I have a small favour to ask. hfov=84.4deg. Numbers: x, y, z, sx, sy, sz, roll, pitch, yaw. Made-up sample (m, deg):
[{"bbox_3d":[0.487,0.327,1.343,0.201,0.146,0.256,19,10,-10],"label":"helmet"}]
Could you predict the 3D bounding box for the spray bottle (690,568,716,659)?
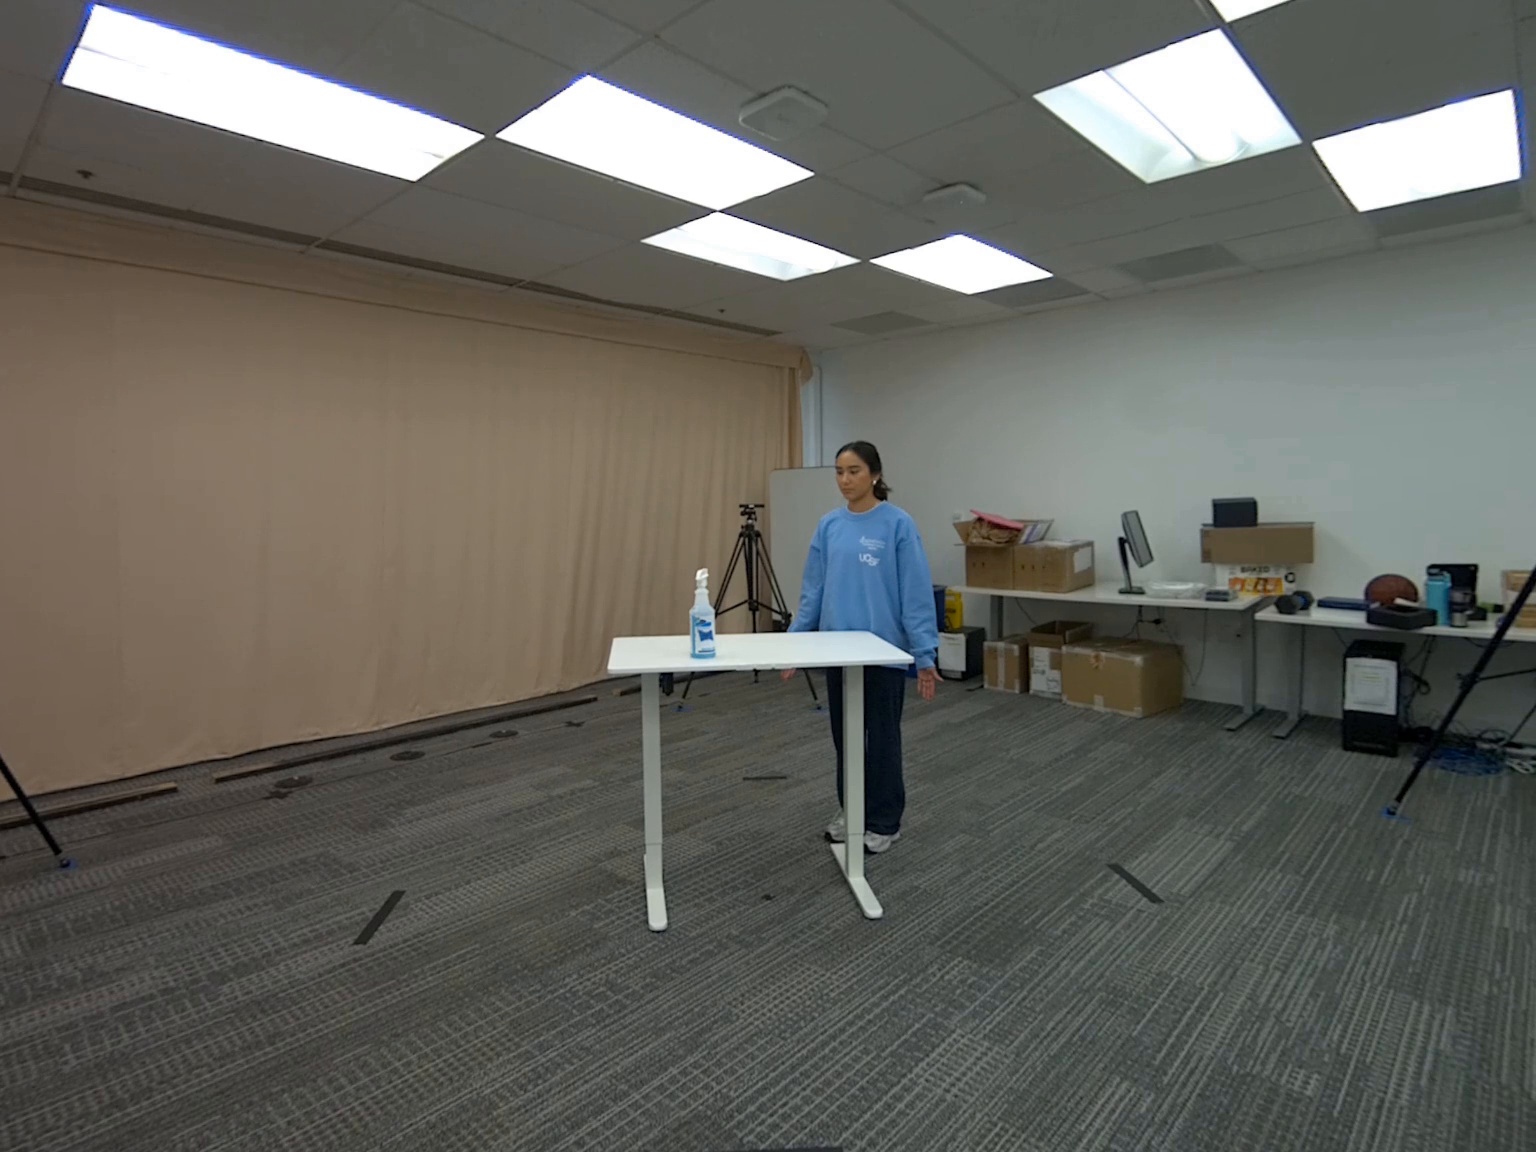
[{"bbox_3d":[-0.223,0.129,2.850,0.090,0.297,0.087,0,4,40],"label":"spray bottle"}]
